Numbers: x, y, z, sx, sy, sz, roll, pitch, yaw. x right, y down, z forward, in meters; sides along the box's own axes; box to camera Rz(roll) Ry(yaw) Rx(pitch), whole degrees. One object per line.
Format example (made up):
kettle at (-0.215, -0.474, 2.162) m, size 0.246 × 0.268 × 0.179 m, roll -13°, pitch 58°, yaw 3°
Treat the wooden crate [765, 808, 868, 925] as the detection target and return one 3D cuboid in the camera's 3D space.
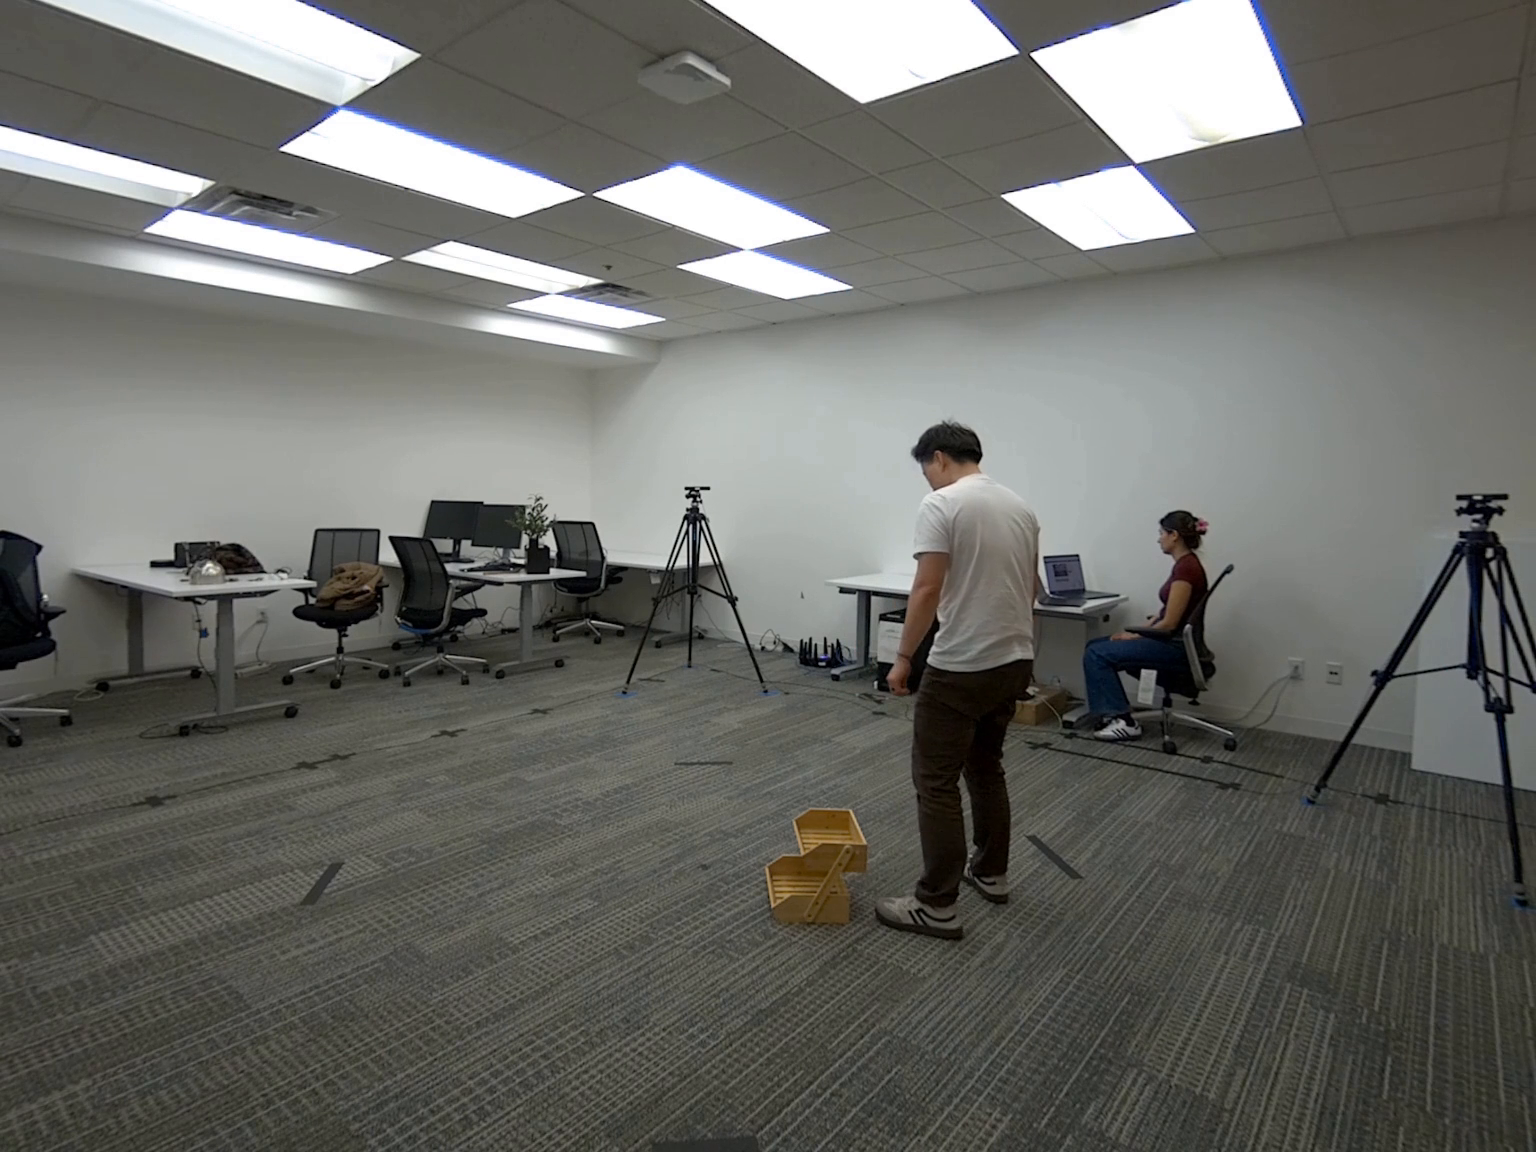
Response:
wooden crate at (0.145, 0.963, 2.870) m, size 0.301 × 0.272 × 0.326 m, roll 2°, pitch 5°, yaw -3°
